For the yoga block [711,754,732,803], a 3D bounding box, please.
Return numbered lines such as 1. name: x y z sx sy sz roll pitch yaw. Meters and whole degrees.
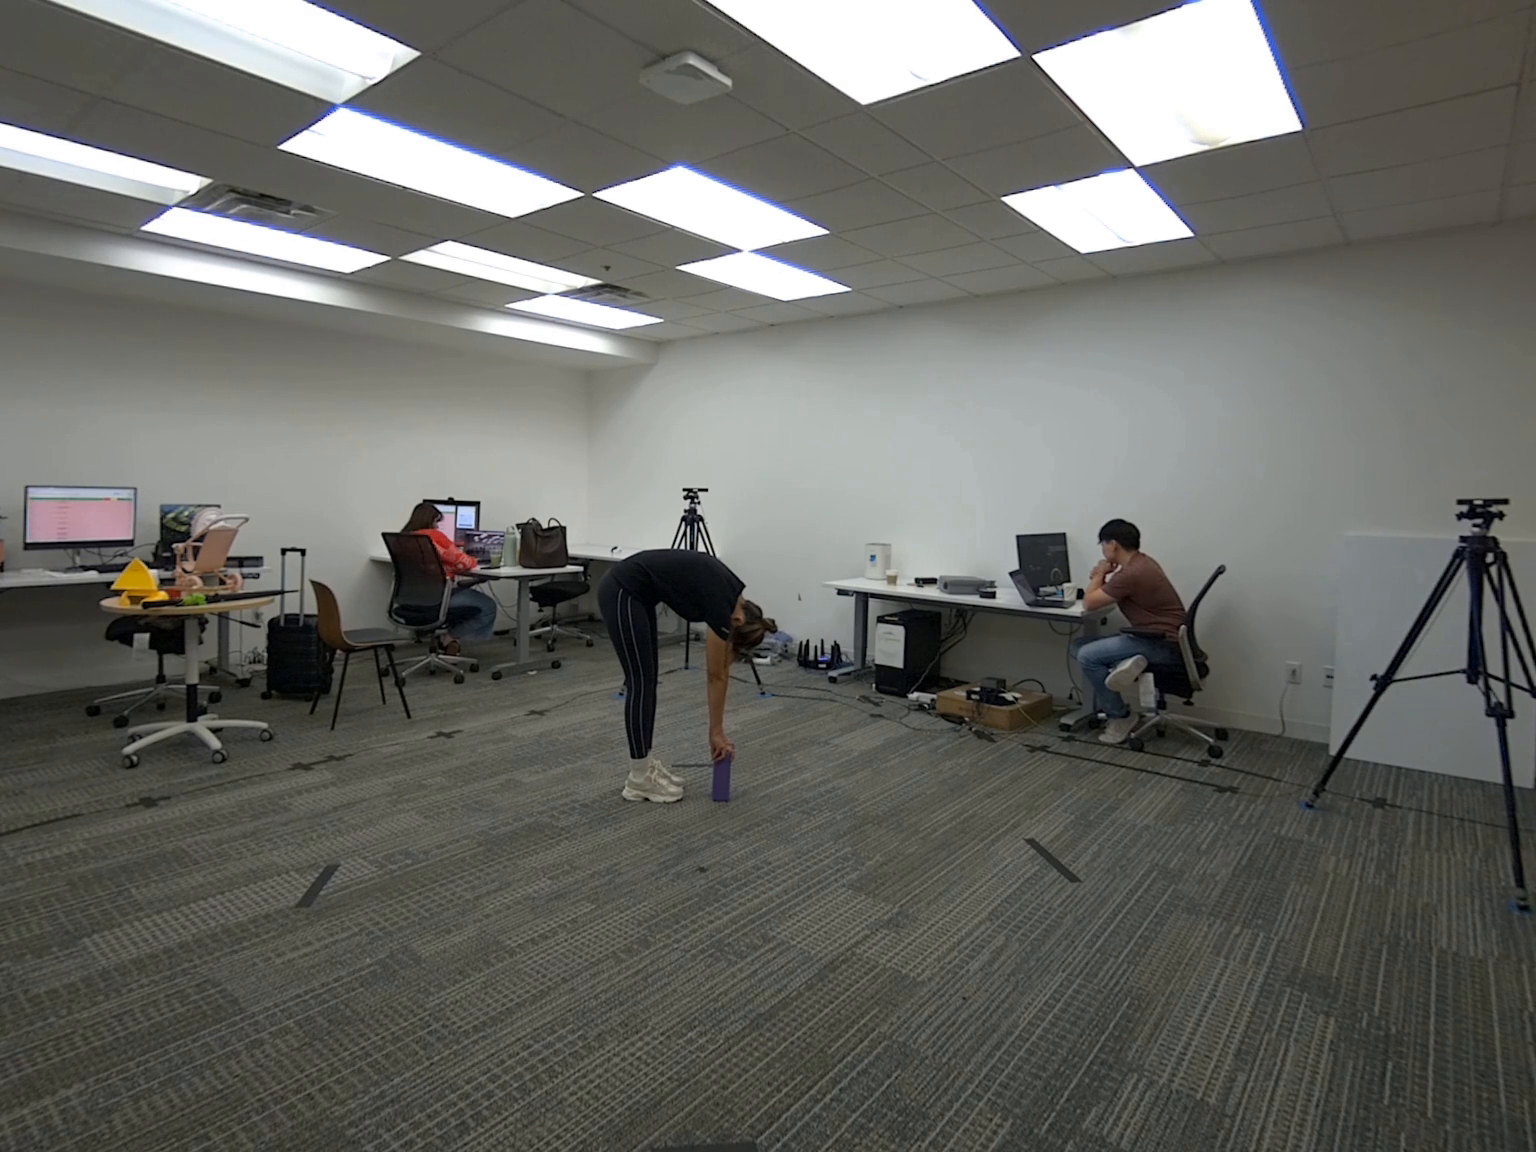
1. yoga block: -0.219 0.889 3.858 0.076 0.228 0.150 0 5 -4
